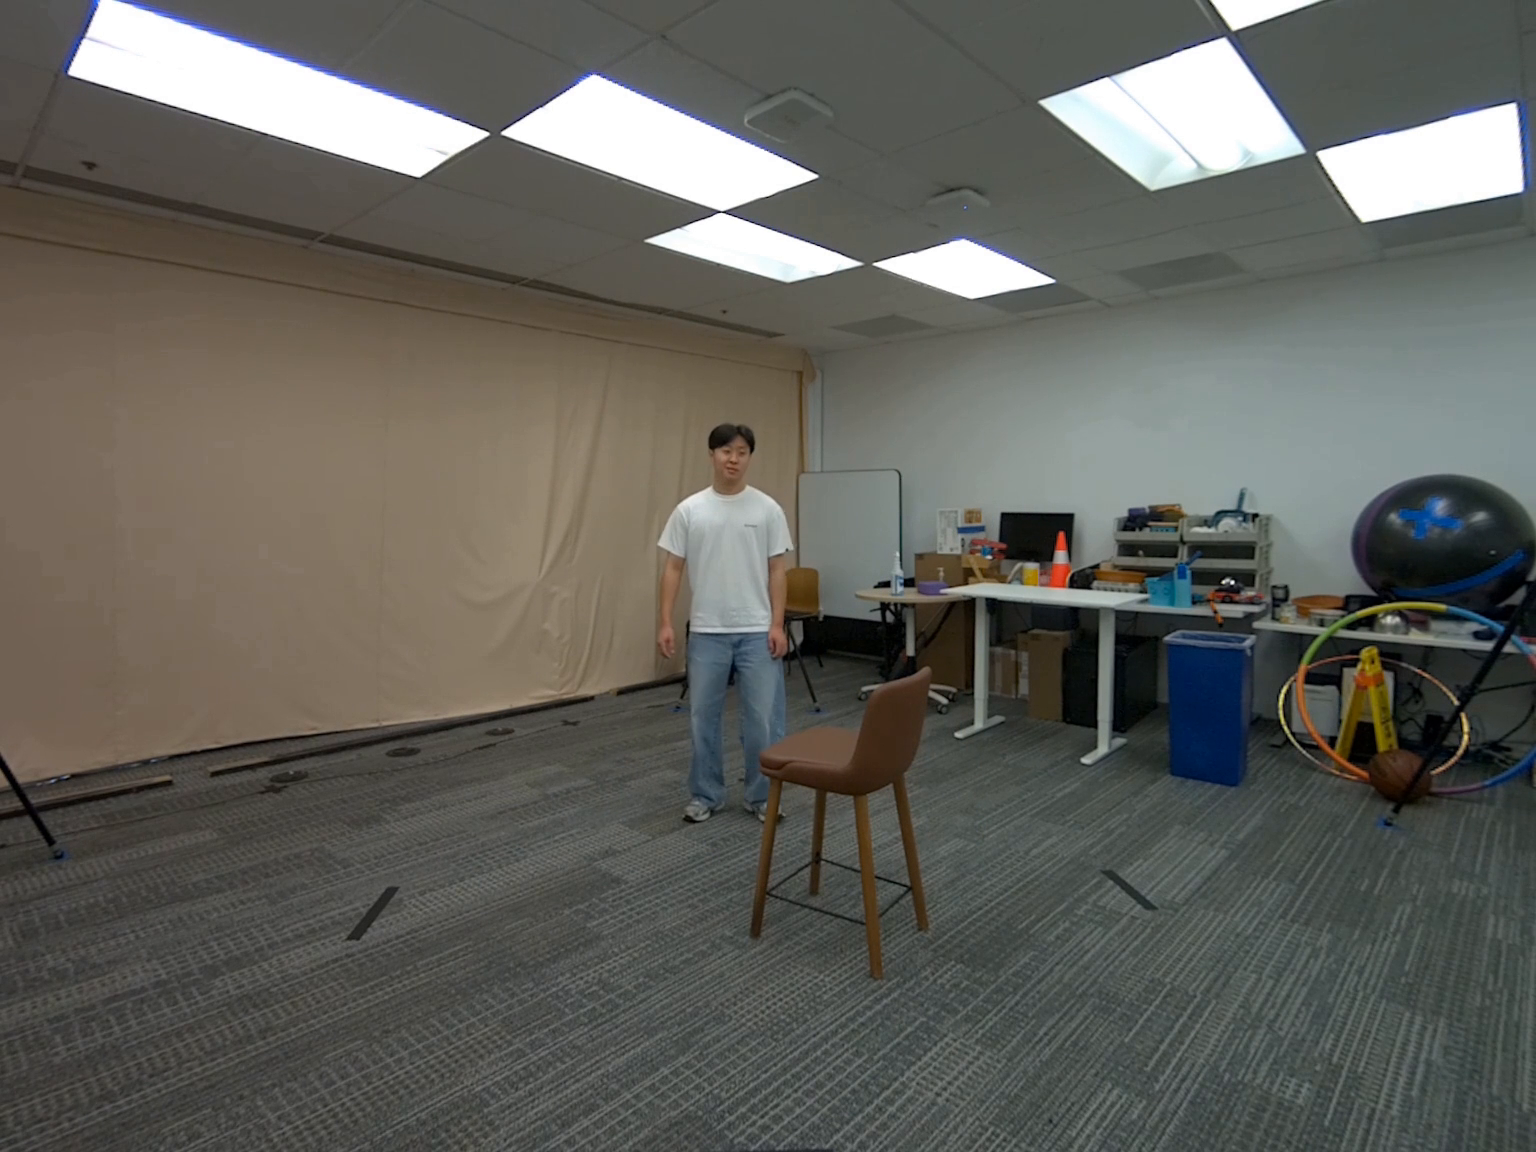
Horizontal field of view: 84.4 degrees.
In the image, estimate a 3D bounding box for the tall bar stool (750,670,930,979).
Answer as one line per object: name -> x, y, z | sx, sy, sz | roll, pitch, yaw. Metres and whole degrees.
tall bar stool -> 0.248, 0.730, 2.721 | 0.483, 0.887, 0.443 | 5, 5, 35
